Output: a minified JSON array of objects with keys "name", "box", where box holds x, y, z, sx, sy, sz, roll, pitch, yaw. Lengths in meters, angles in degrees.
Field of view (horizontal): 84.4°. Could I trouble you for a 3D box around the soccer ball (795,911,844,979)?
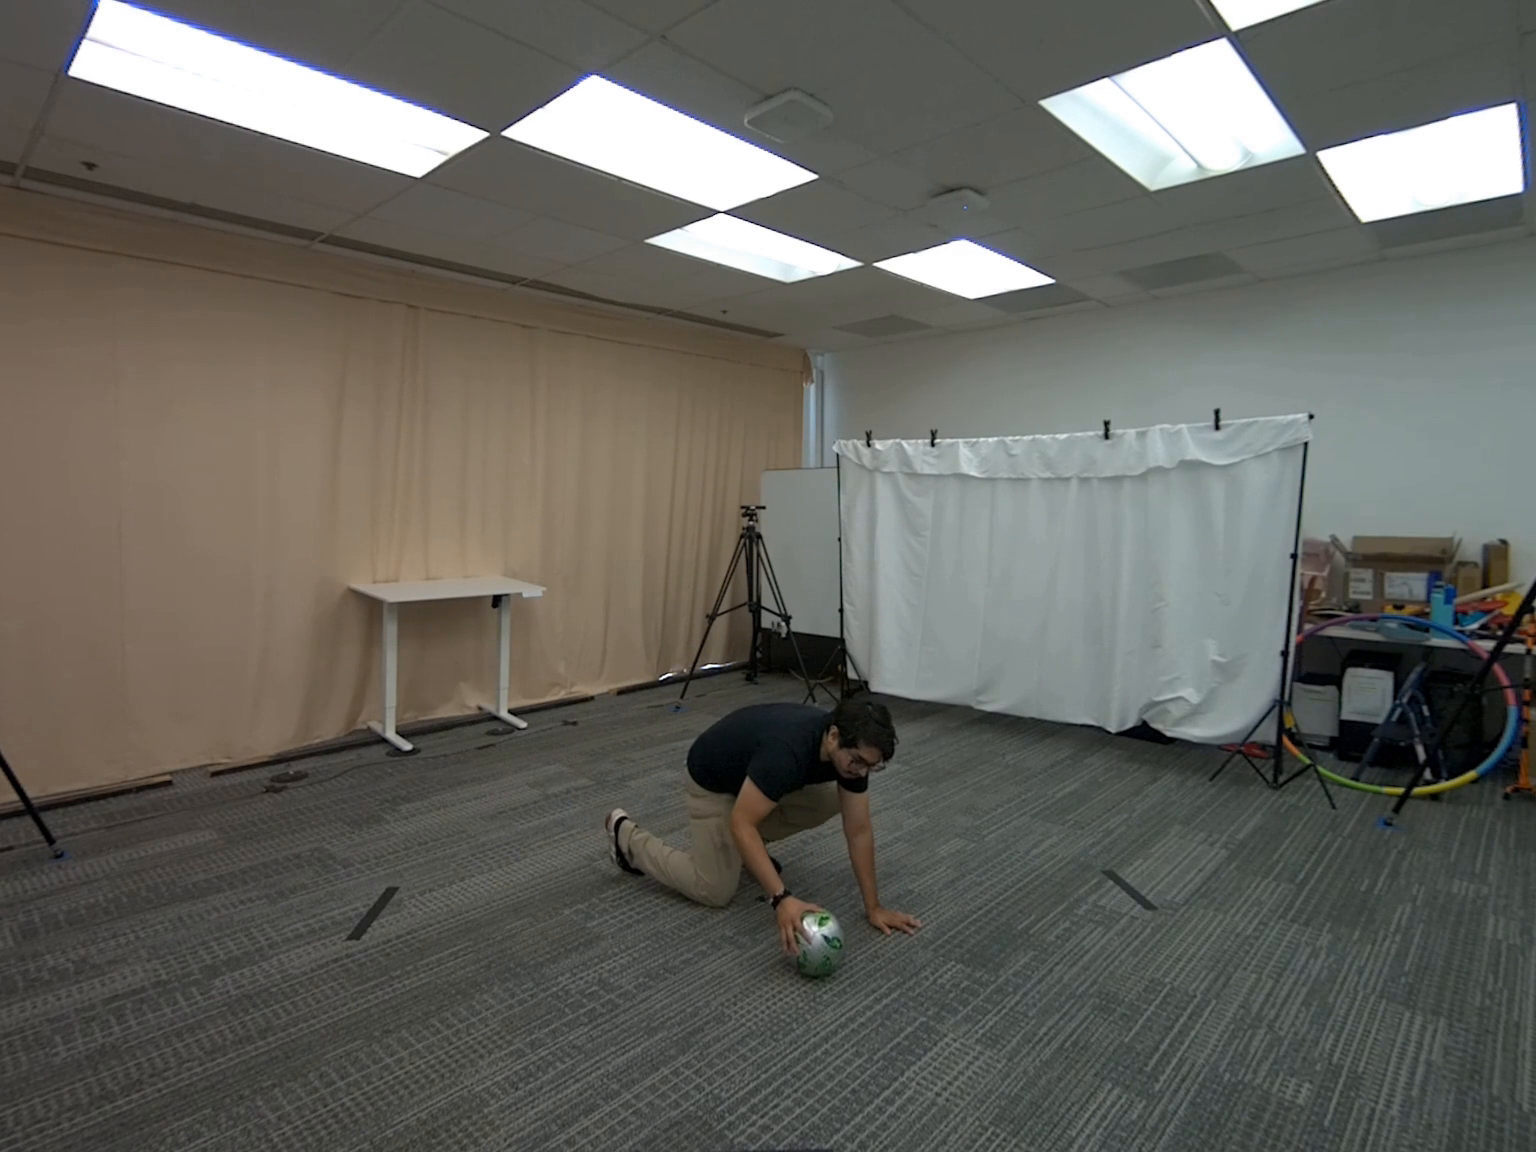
[{"name":"soccer ball","box":[0.138,1.076,2.510,0.187,0.187,0.188,0,4,-2]}]
